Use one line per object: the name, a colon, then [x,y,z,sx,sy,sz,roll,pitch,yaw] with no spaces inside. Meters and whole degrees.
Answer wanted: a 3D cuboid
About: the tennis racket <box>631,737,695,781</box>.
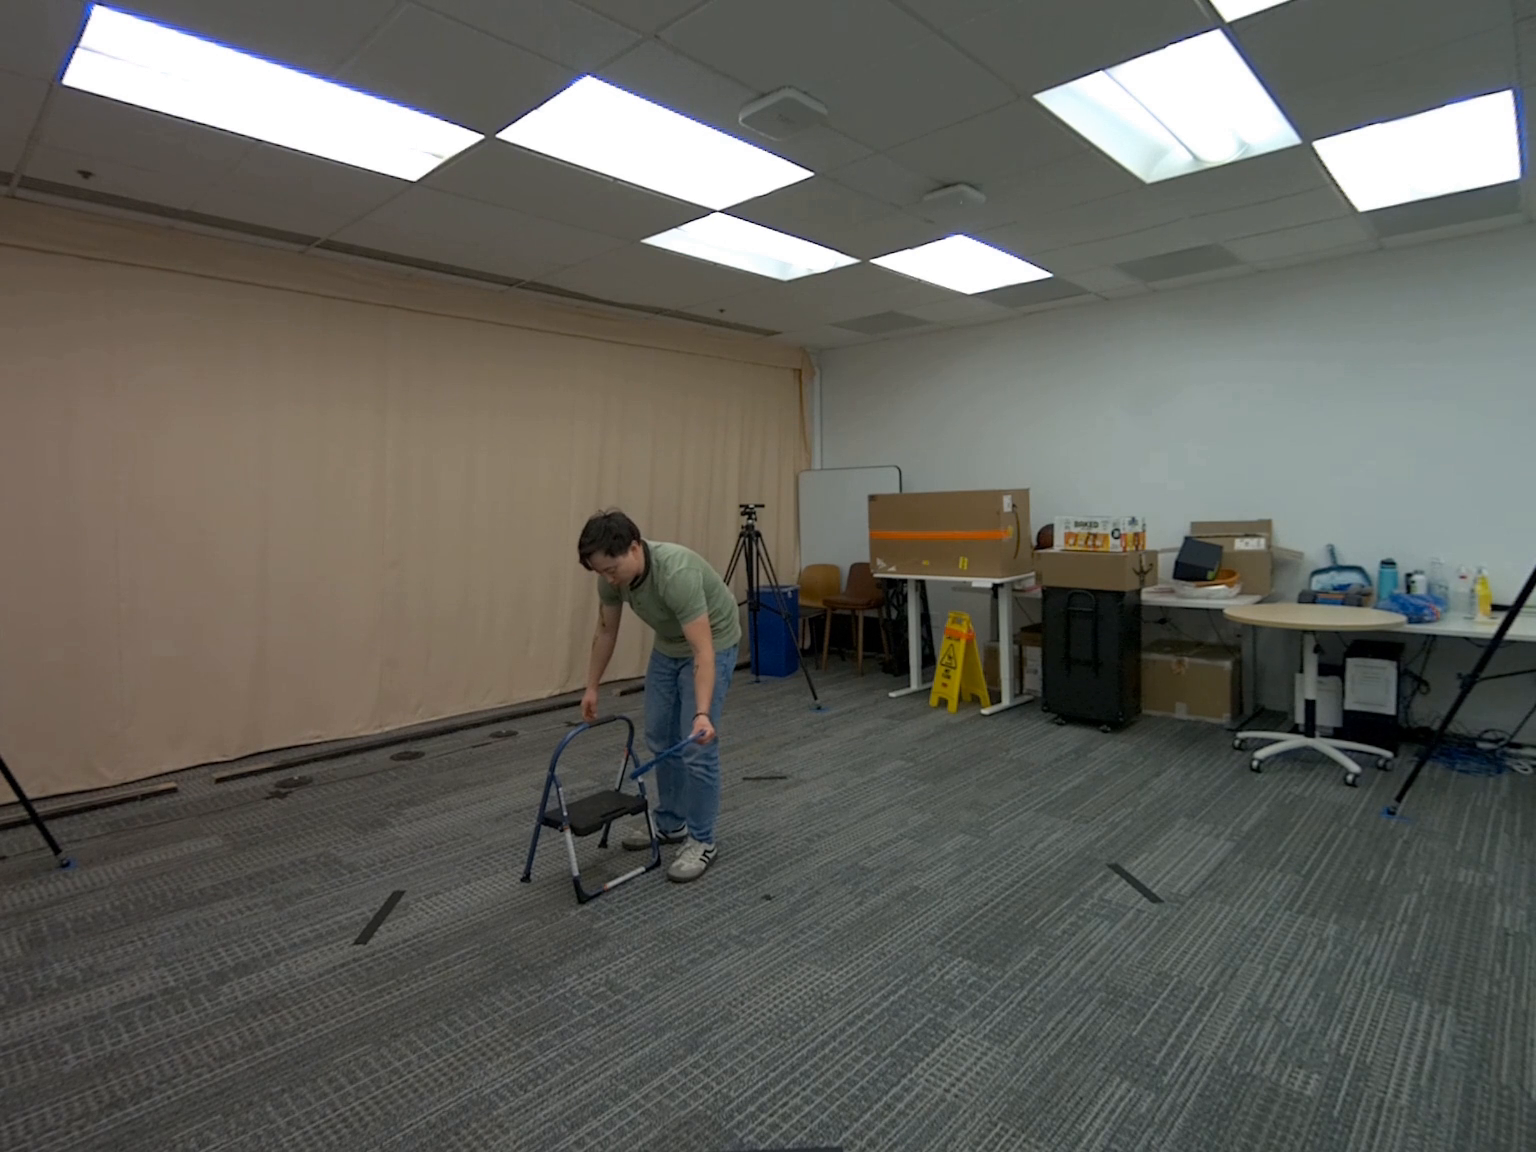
tennis racket: [-0.383,0.624,2.908,0.209,0.032,0.438,-22,-11,-45]
